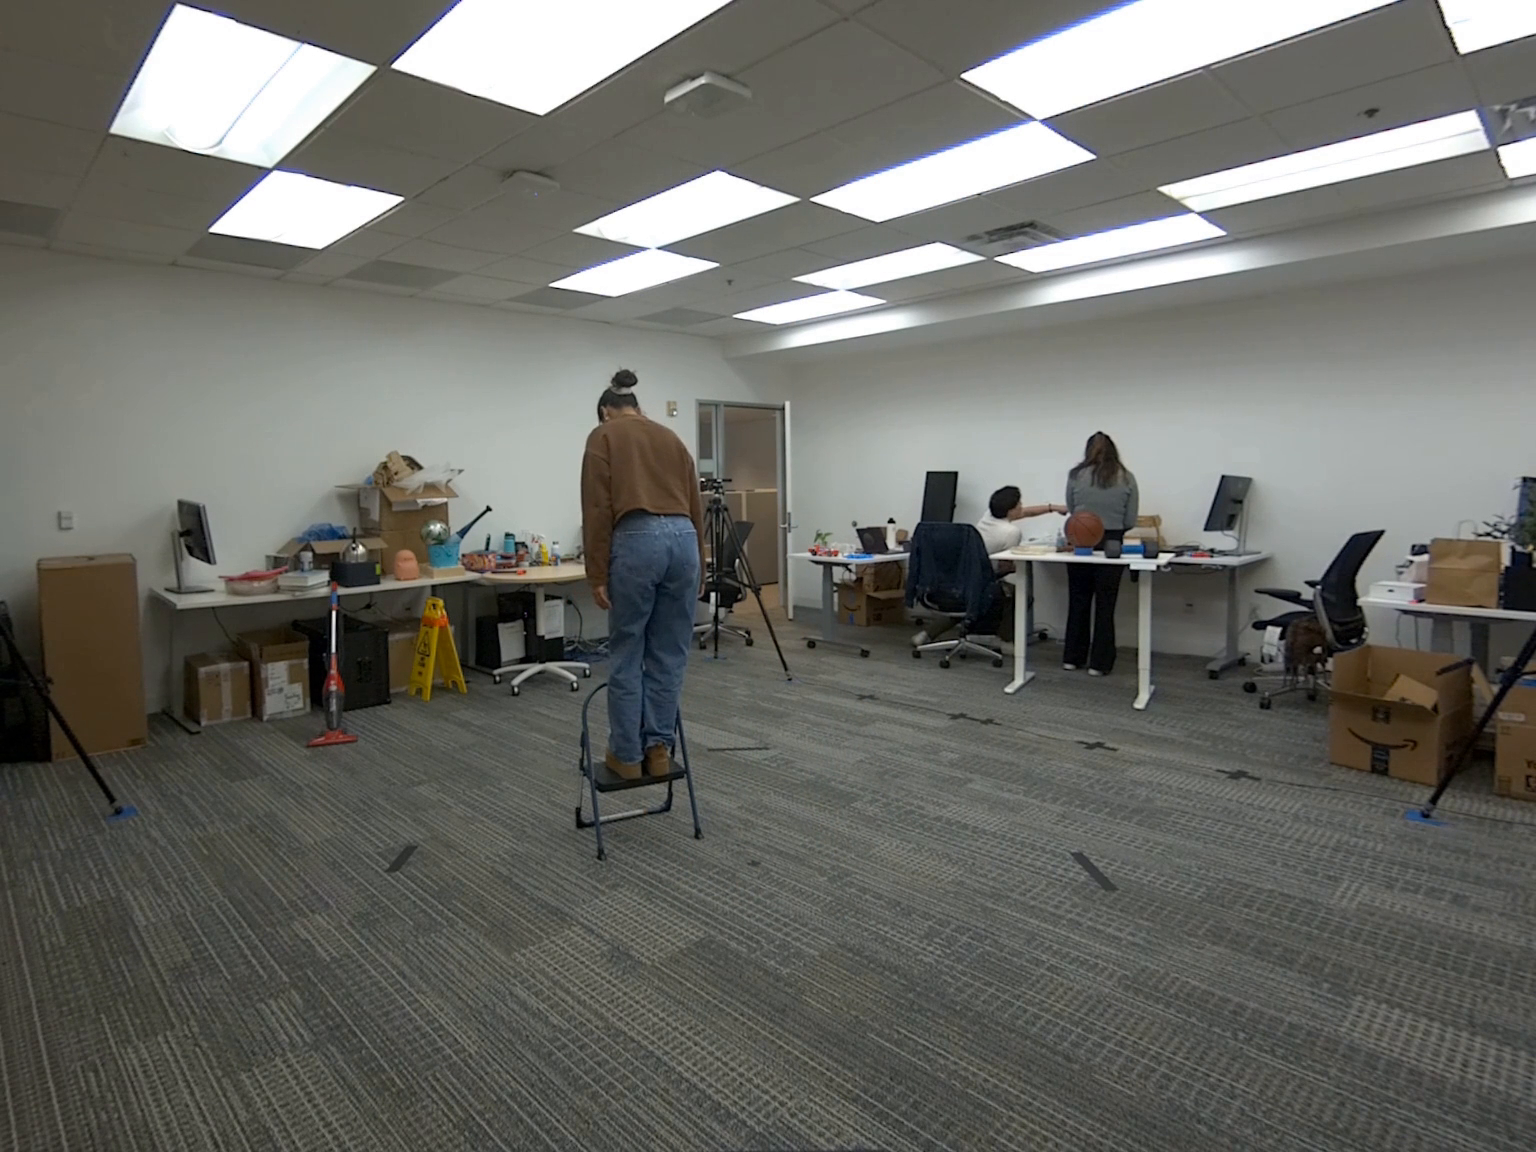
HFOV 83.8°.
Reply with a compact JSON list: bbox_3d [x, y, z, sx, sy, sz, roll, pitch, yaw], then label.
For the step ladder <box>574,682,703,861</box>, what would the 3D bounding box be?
[{"bbox_3d":[-0.524,0.720,3.385,0.421,0.604,0.358,-3,4,-28],"label":"step ladder"}]
